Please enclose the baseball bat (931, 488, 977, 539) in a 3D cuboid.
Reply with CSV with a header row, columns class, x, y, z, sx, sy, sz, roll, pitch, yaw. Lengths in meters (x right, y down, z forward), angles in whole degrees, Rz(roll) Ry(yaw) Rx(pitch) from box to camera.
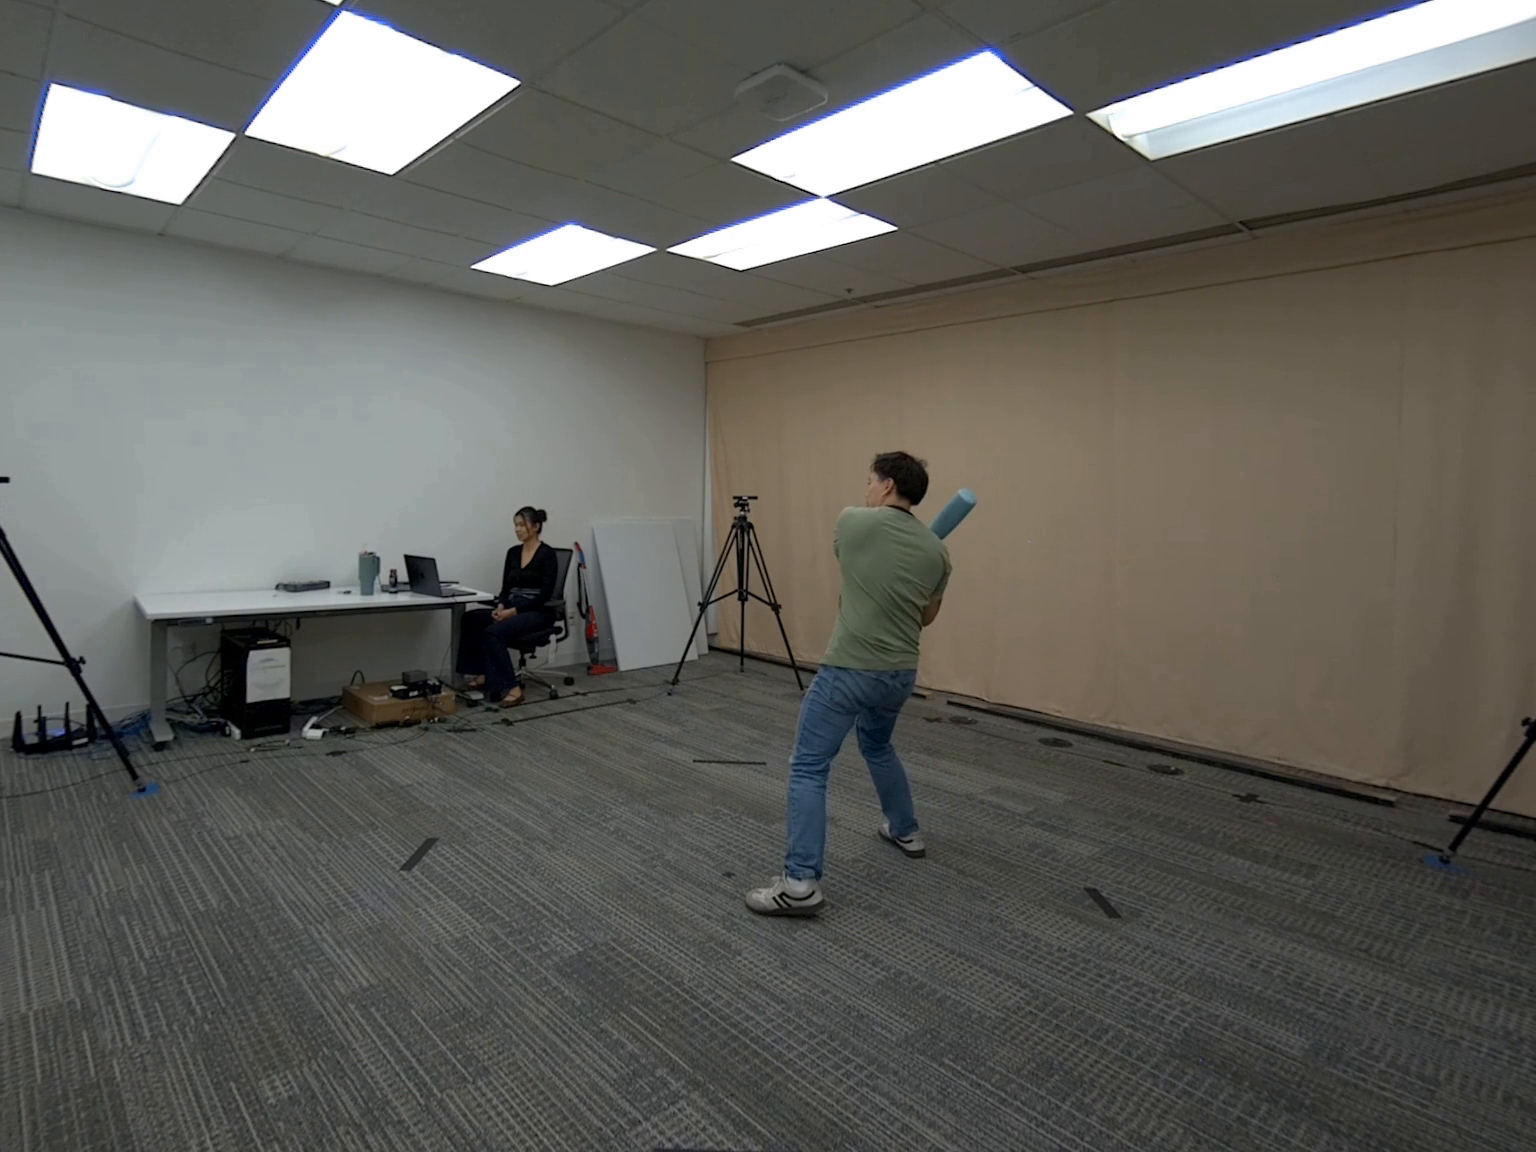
class,x,y,z,sx,sy,sz,roll,pitch,yaw
baseball bat,0.658,-0.143,3.392,0.087,0.091,0.539,0,-39,-30
